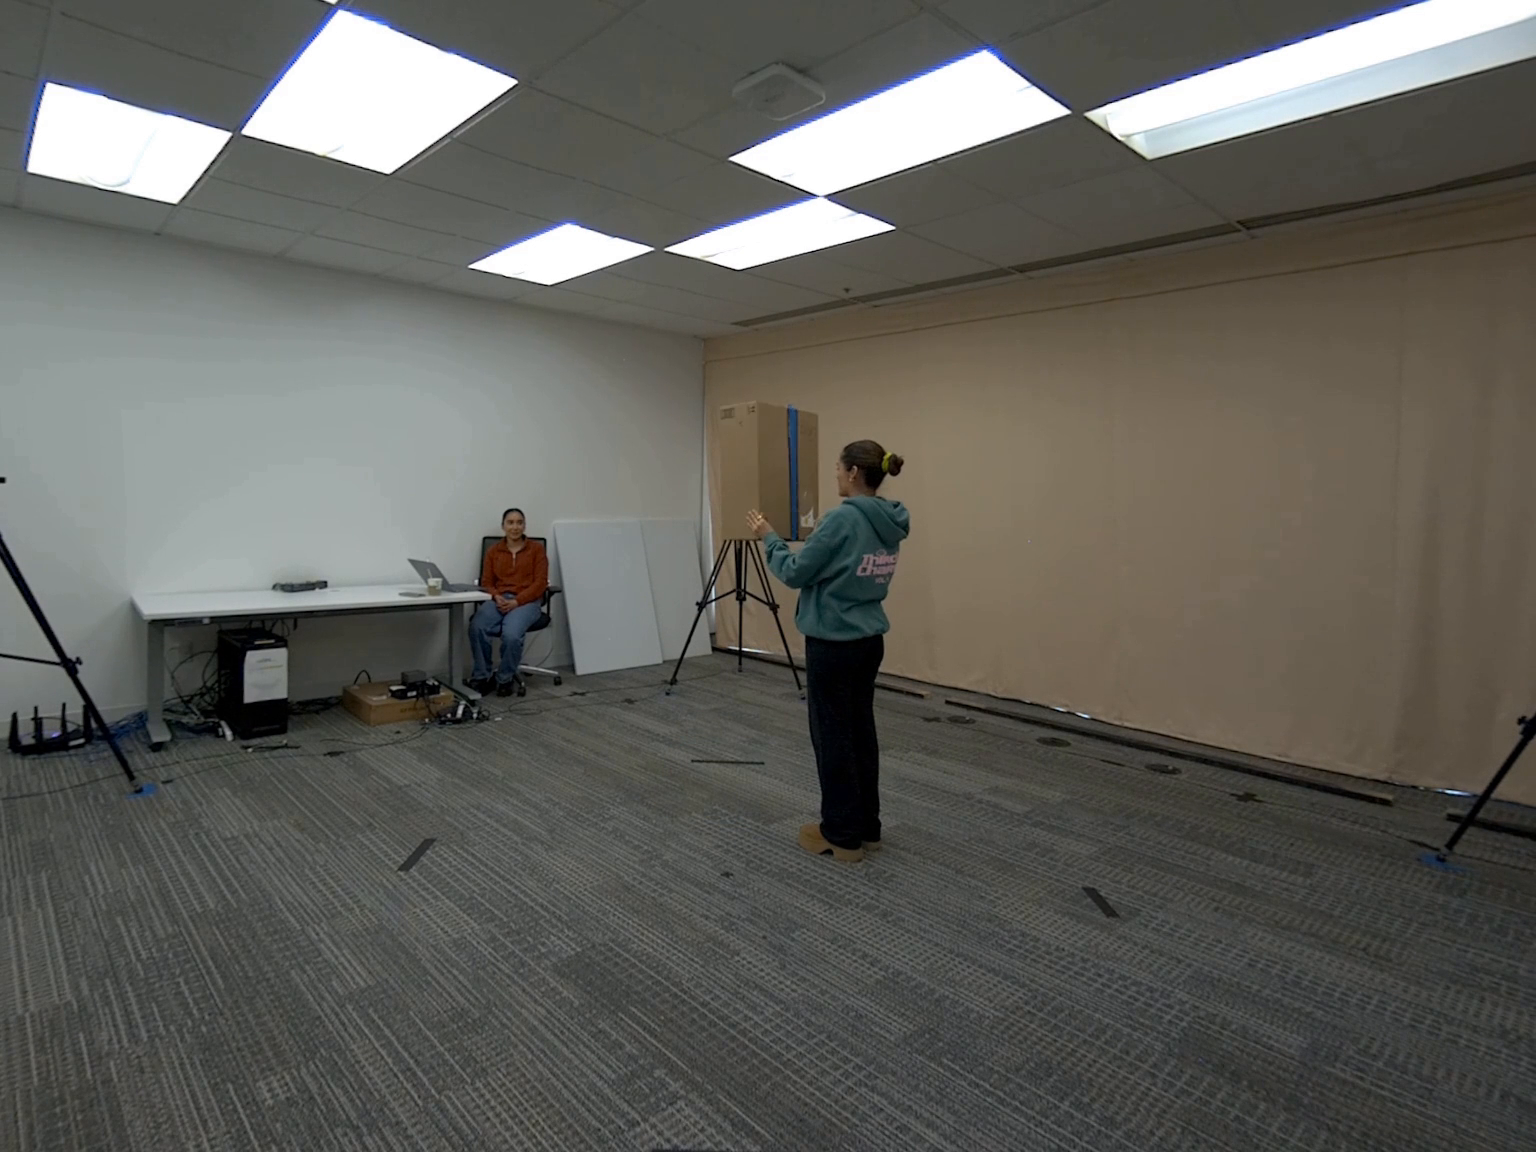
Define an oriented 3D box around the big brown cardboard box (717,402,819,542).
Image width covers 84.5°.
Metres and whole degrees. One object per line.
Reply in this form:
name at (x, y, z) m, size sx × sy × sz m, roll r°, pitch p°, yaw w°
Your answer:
big brown cardboard box at (0.001, -0.418, 3.655) m, size 0.238 × 0.589 × 0.408 m, roll -2°, pitch -1°, yaw 41°
